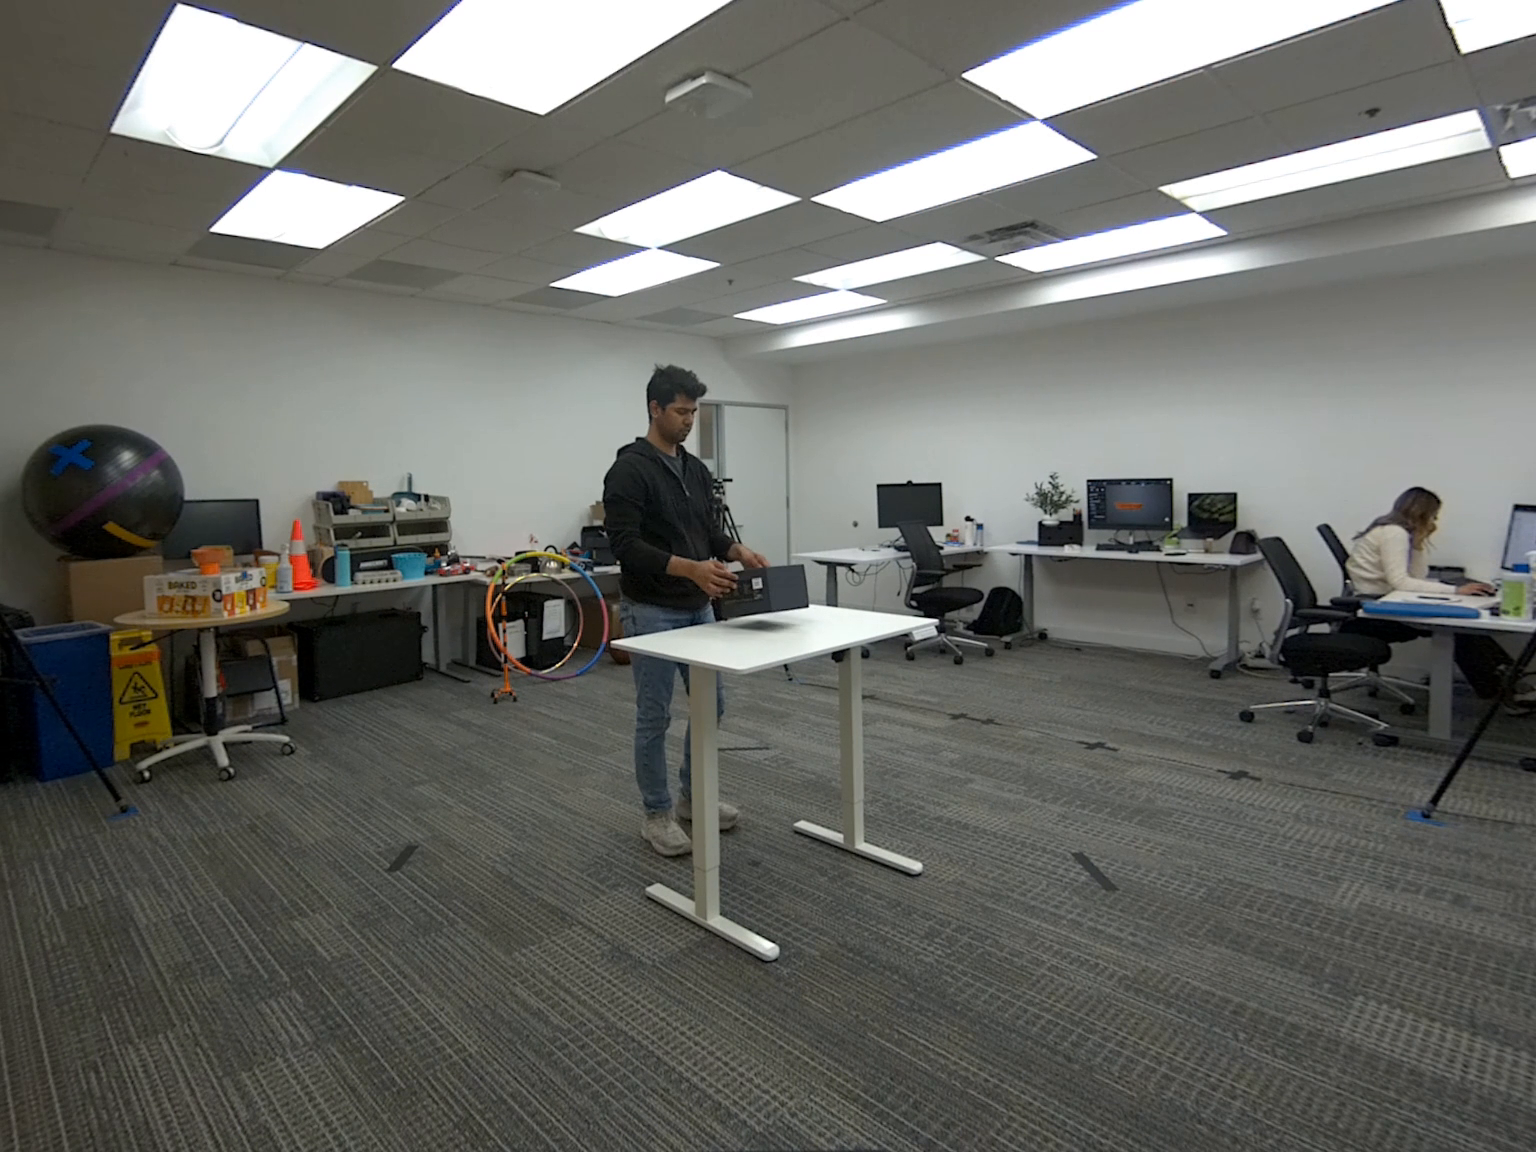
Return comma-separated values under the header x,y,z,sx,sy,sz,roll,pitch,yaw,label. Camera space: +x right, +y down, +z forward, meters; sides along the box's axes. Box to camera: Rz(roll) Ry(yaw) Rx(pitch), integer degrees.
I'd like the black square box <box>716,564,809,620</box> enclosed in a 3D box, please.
x,y,z,sx,sy,sz,roll,pitch,yaw,label
-0.013,0.051,2.998,0.222,0.156,0.222,-10,-4,37,black square box
